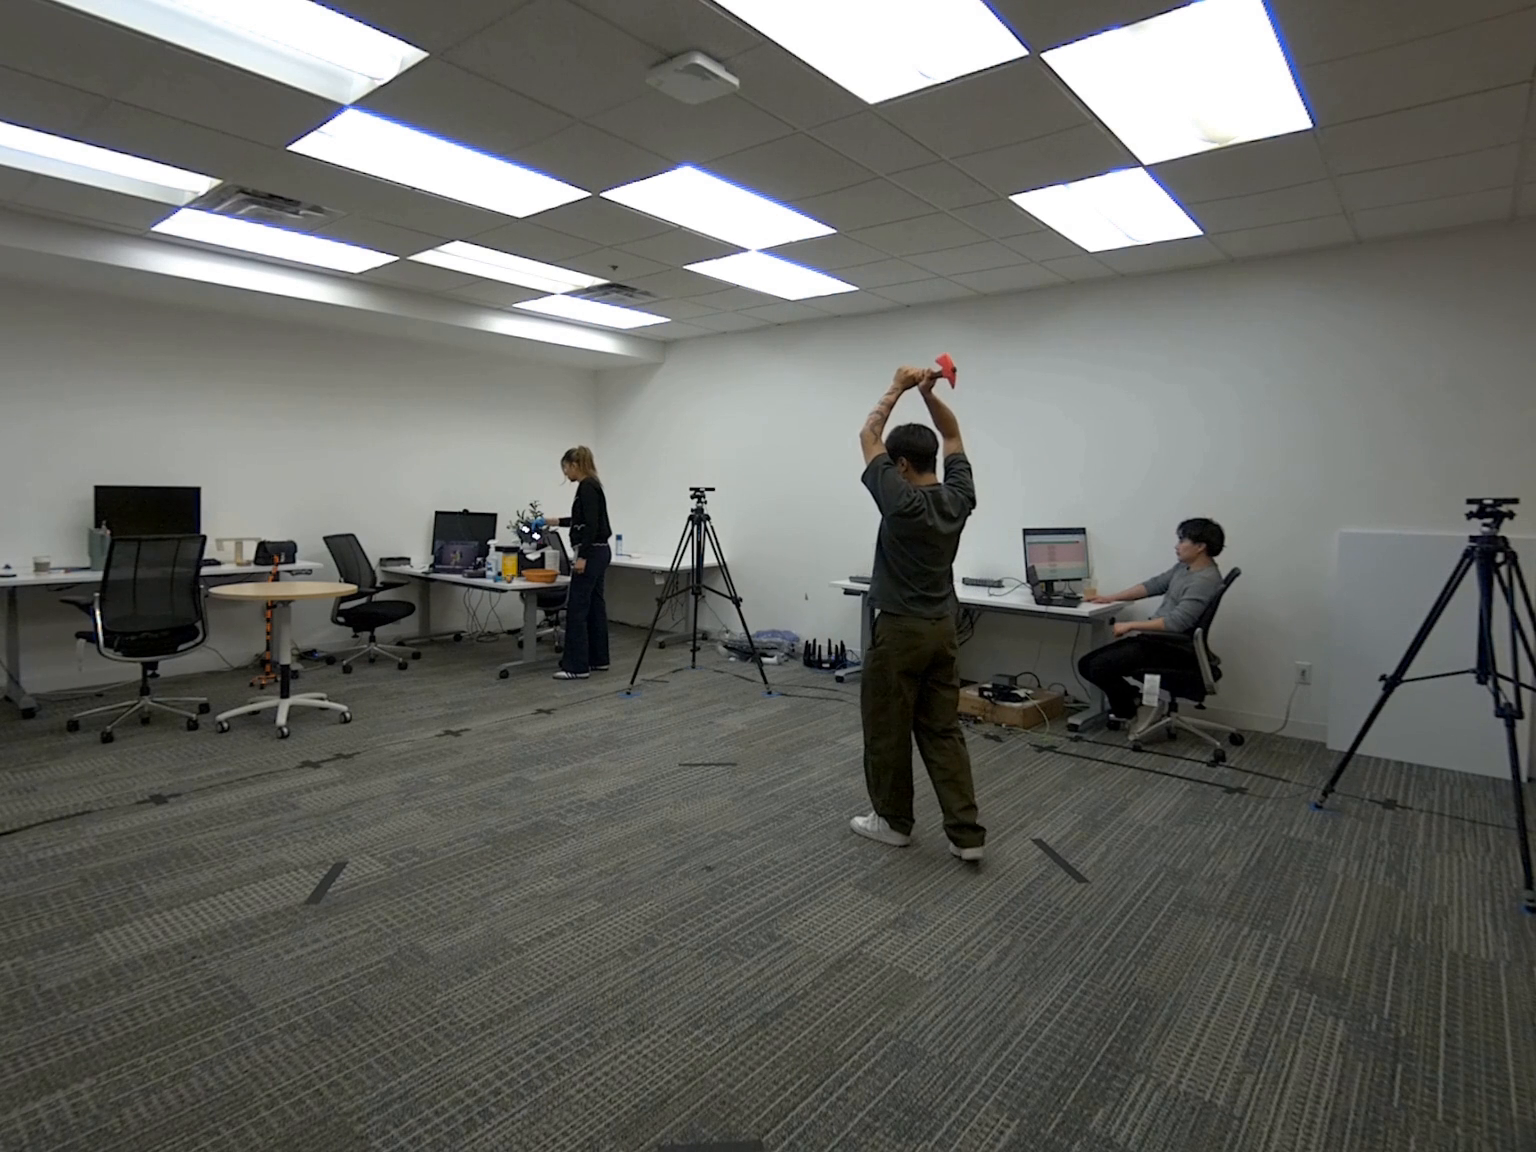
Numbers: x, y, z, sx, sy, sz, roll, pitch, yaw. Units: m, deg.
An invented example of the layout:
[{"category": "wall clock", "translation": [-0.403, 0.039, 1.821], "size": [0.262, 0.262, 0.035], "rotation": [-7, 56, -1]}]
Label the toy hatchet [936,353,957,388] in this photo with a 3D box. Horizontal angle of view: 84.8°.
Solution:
[{"category": "toy hatchet", "translation": [0.607, -0.799, 3.237], "size": [0.029, 0.128, 0.281], "rotation": [-20, 28, -27]}]
